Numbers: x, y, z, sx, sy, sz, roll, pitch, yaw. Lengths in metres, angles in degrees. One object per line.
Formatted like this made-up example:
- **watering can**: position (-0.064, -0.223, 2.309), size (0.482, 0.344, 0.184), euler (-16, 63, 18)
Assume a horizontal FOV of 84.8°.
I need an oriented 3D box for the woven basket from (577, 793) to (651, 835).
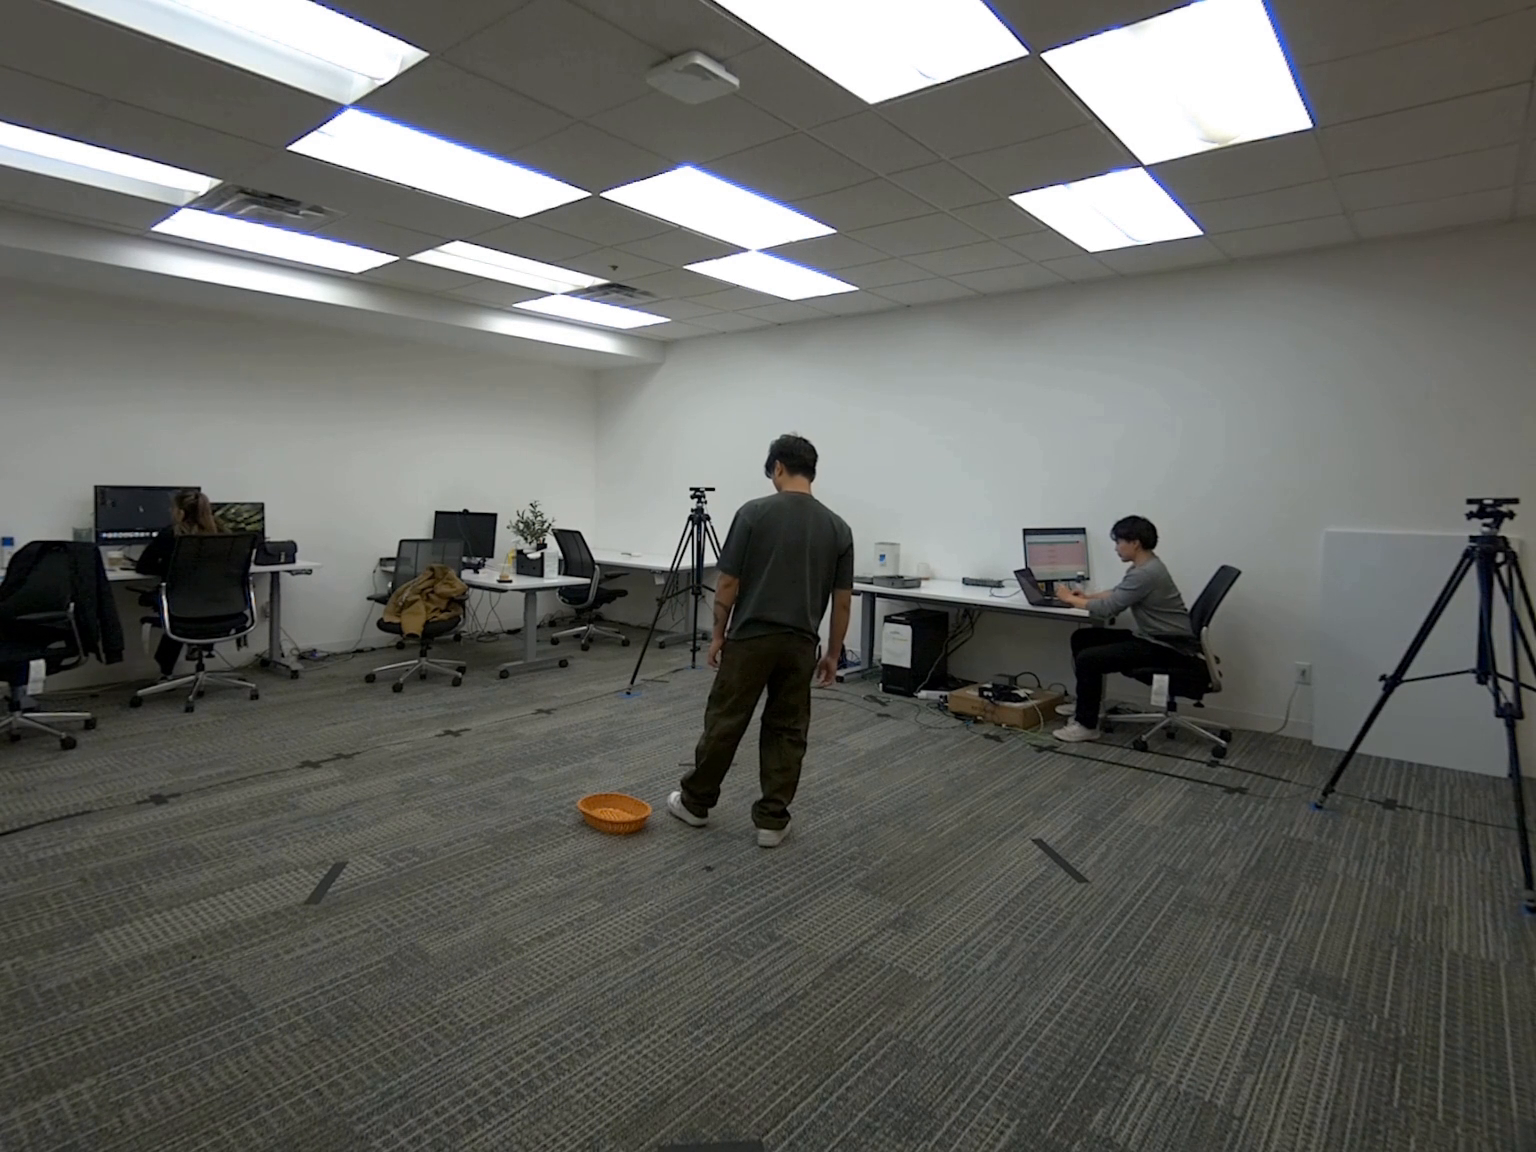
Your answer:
- **woven basket**: position (-0.650, 0.981, 3.526), size (0.245, 0.073, 0.362), euler (-4, 8, -45)
